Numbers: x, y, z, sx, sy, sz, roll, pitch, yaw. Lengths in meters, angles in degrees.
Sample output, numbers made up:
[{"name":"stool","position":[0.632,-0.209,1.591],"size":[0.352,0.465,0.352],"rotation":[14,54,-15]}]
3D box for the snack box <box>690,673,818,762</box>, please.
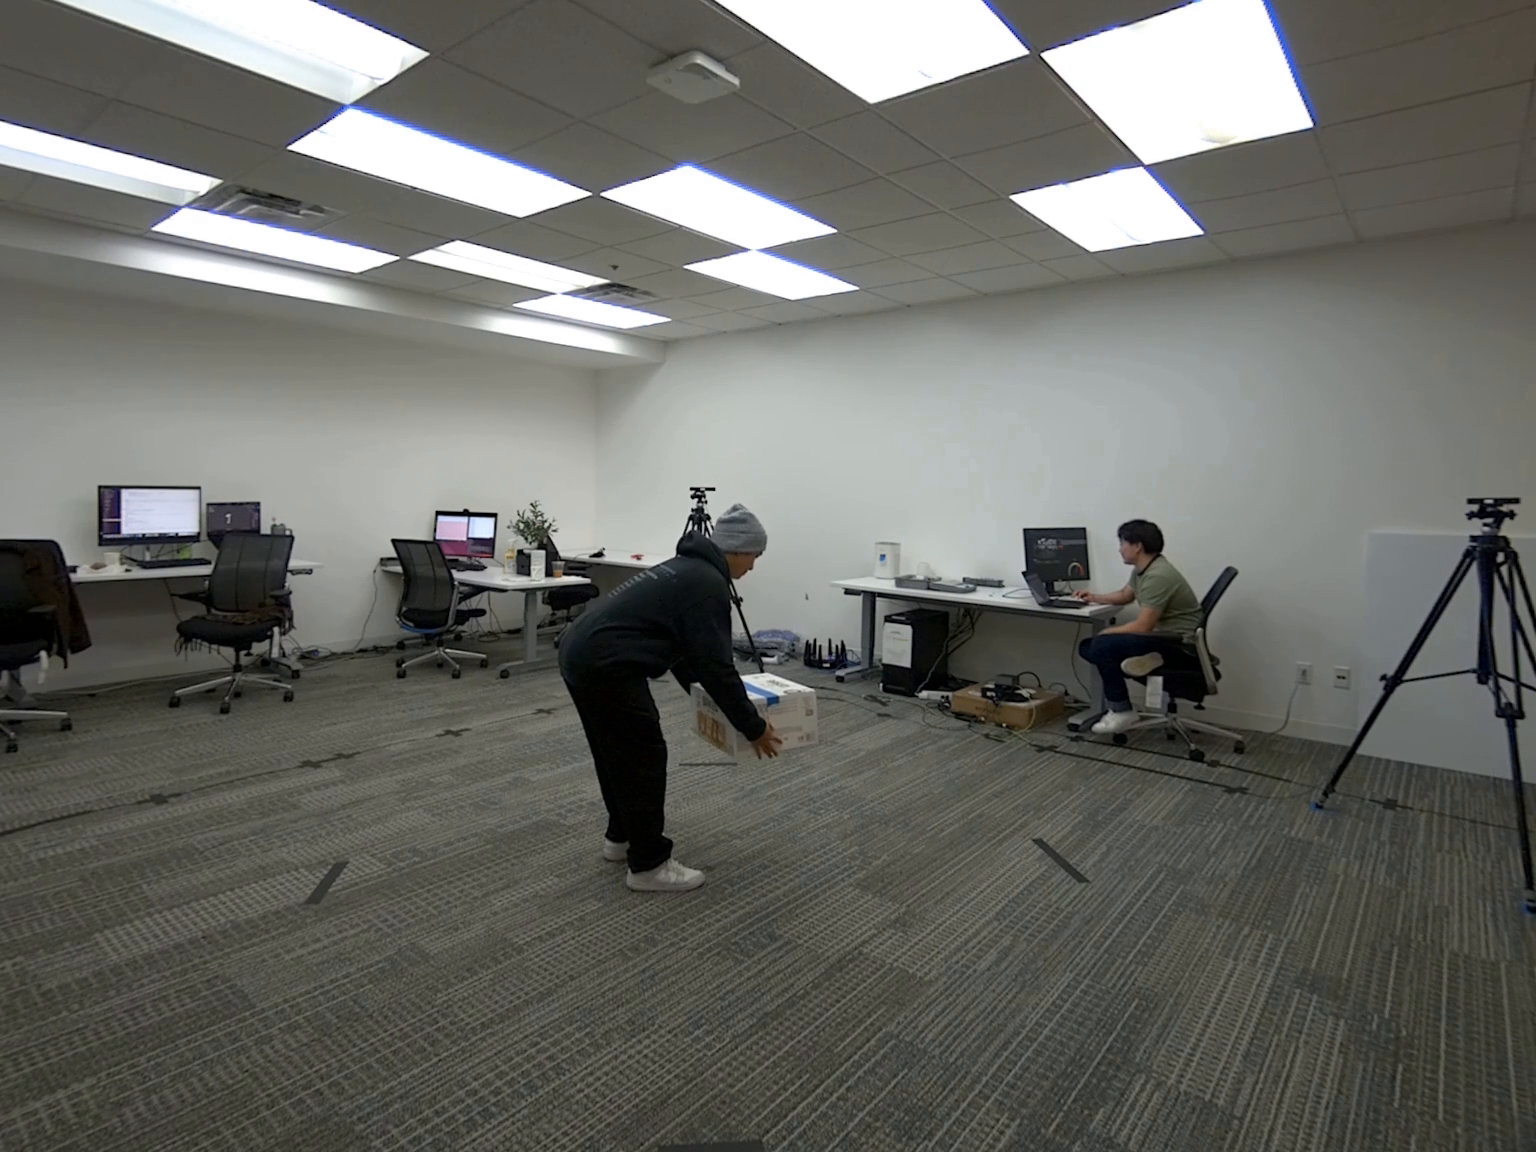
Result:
[{"name":"snack box","position":[-0.068,0.519,3.225],"size":[0.333,0.205,0.415],"rotation":[-6,5,-25]}]
